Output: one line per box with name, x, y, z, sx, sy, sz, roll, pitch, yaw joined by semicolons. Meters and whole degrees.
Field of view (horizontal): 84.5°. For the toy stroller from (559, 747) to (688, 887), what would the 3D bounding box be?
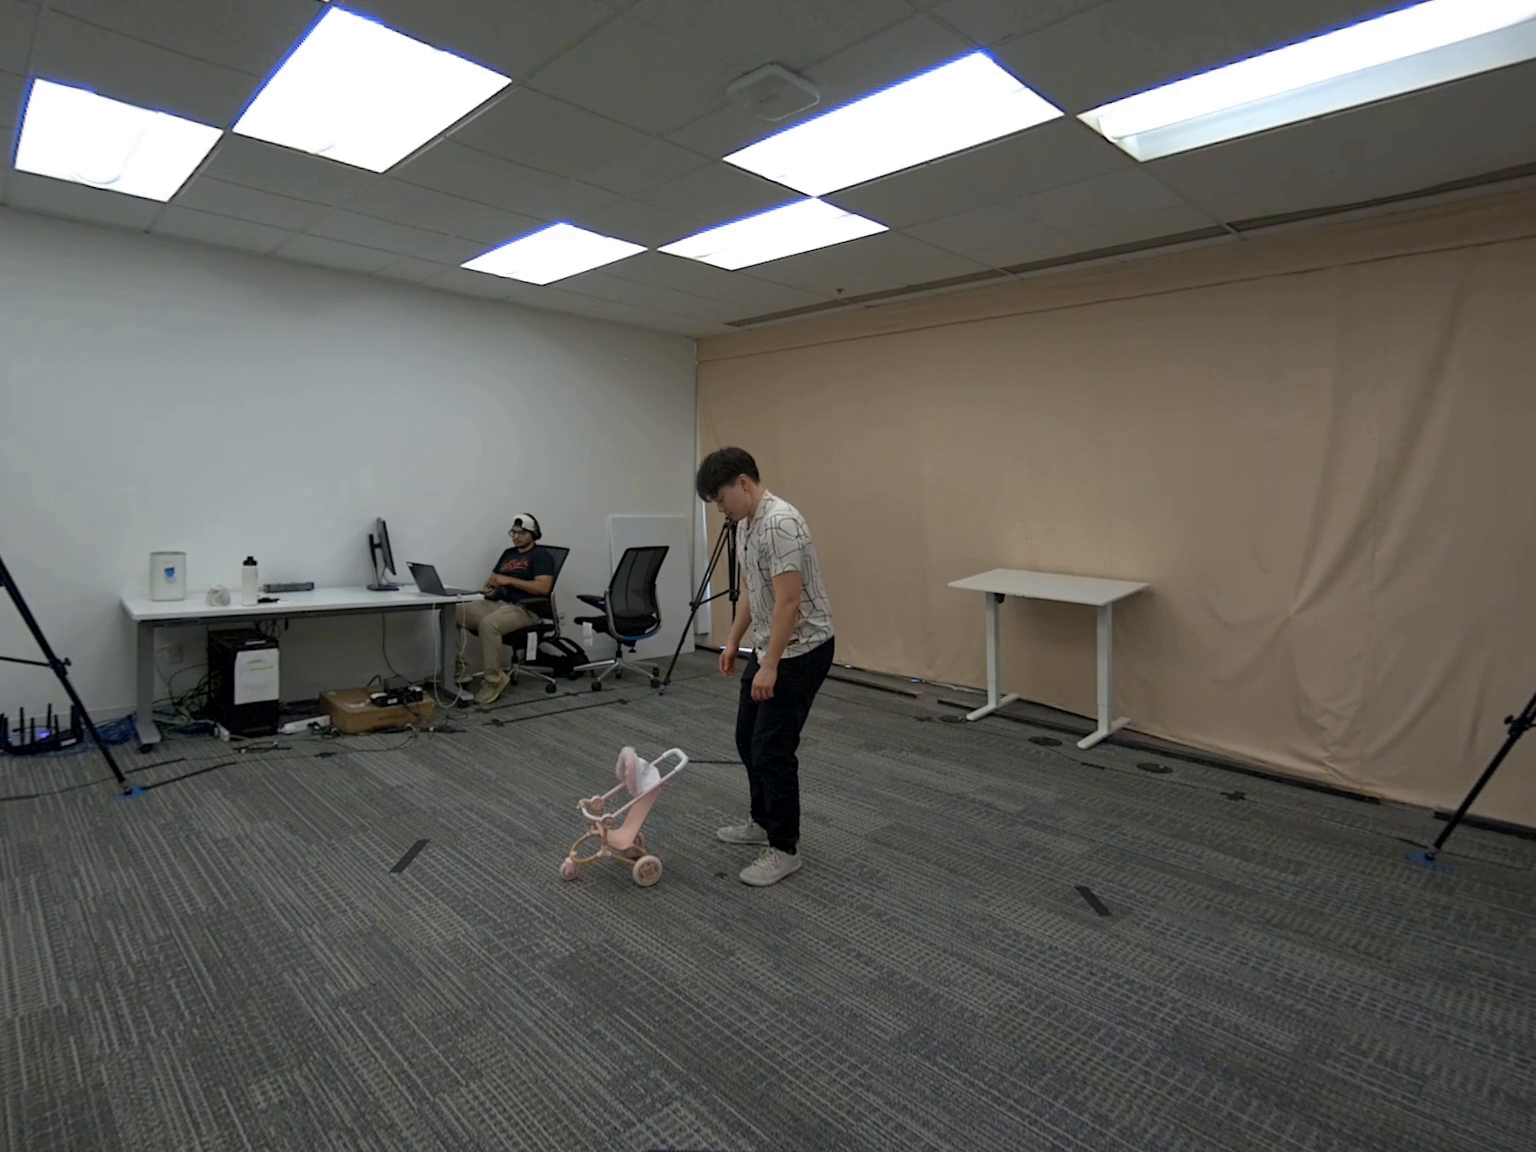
toy stroller;-0.540;0.872;3.083;0.336;0.535;0.286;17;-1;-17
